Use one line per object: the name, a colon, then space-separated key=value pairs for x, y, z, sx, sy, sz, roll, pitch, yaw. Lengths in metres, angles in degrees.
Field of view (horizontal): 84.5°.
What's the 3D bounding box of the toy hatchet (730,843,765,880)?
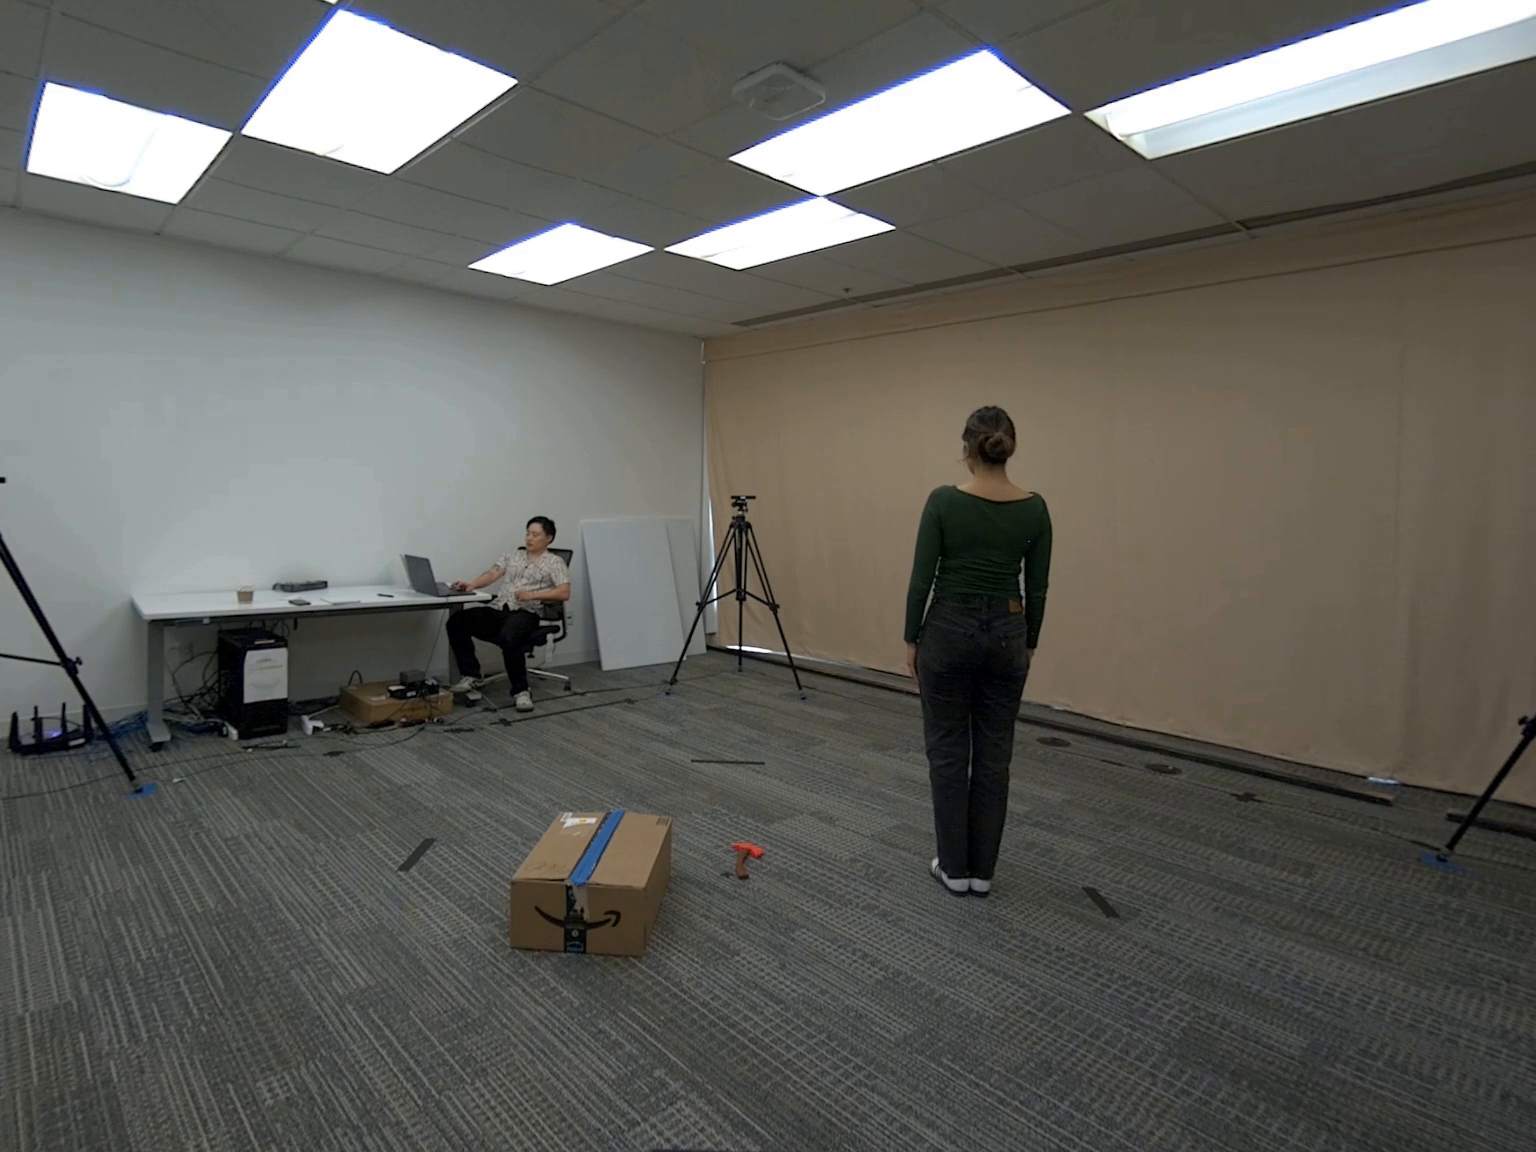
toy hatchet: x=-0.069 y=1.081 z=3.196 sx=0.130 sy=0.029 sz=0.273 roll=5 pitch=7 yaw=-10
